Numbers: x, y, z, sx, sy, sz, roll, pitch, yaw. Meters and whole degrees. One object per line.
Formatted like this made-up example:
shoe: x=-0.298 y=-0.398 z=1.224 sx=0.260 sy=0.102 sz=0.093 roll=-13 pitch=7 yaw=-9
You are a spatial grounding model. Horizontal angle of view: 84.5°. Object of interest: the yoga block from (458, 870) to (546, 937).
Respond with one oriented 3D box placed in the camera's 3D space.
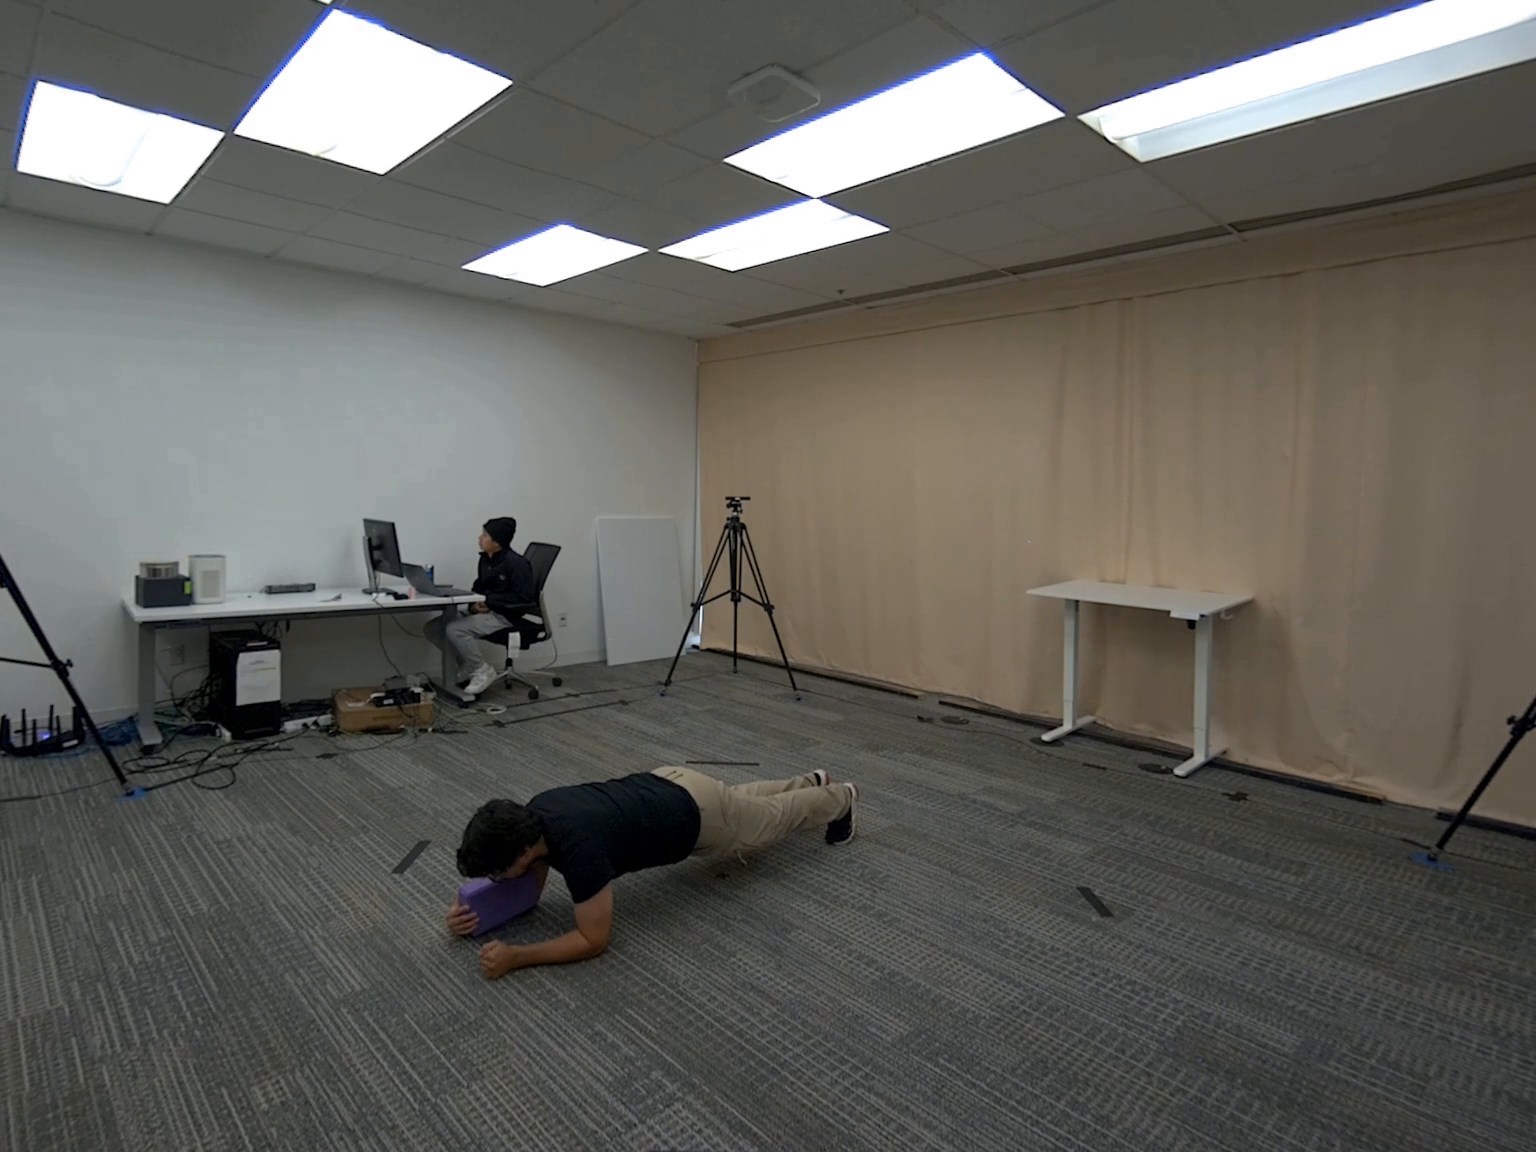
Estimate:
yoga block: x=-0.860 y=1.018 z=2.691 sx=0.225 sy=0.147 sz=0.078 roll=-13 pitch=19 yaw=-37
